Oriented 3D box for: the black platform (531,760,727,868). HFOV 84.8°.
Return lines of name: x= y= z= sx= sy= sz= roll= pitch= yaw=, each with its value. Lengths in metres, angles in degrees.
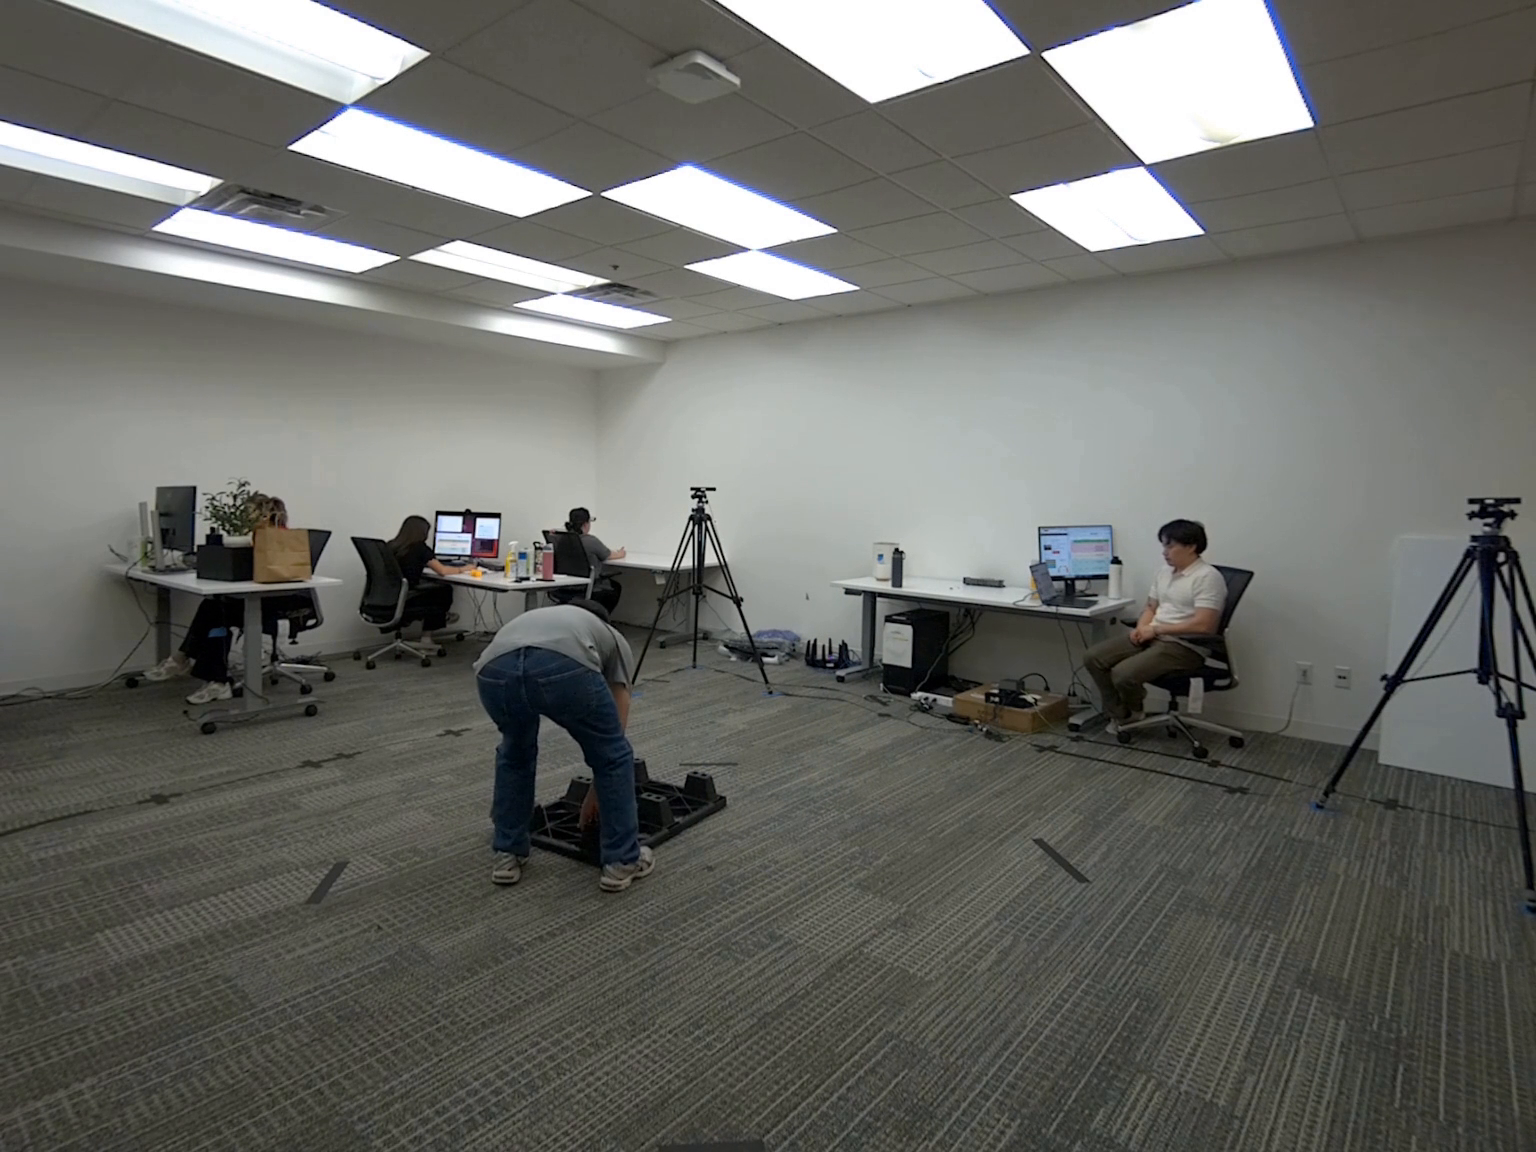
black platform: x=-0.638 y=0.949 z=3.558 sx=0.623 sy=0.143 sz=0.785 roll=4 pitch=6 yaw=30
